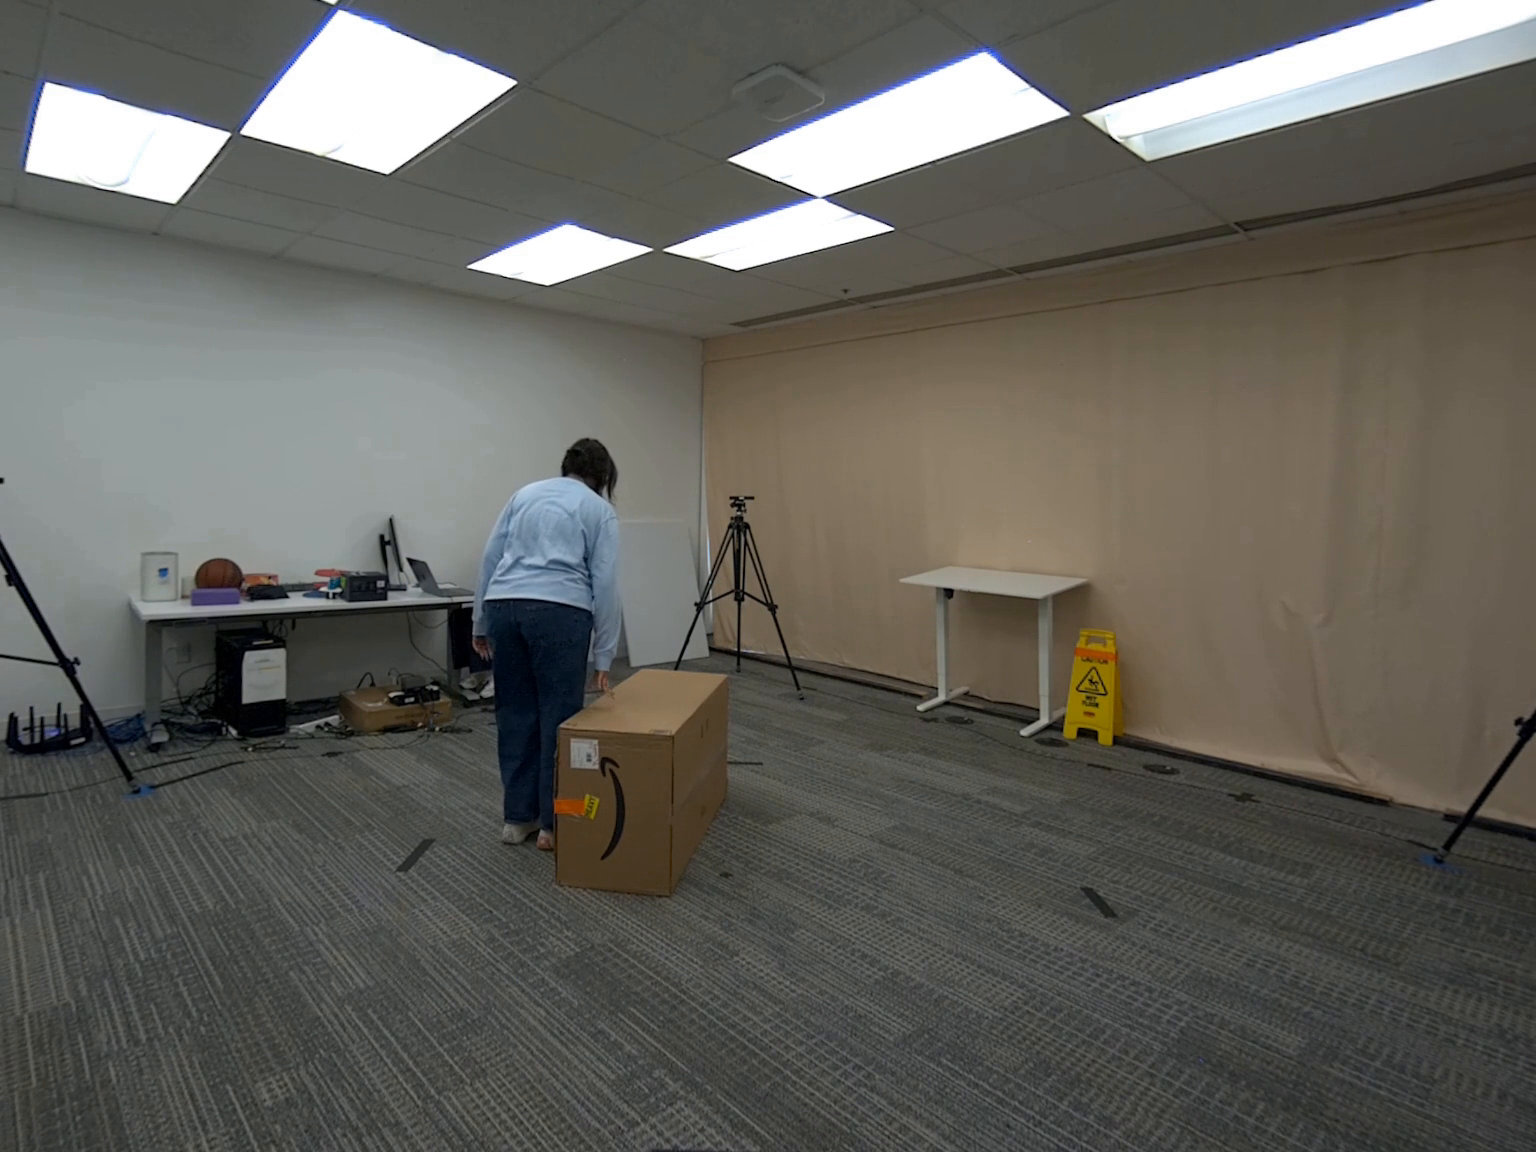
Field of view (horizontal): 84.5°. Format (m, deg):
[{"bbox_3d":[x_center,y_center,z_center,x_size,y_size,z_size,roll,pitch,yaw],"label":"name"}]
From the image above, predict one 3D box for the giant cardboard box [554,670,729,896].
[{"bbox_3d":[-0.475,0.777,3.444,0.429,0.576,1.021,1,5,8],"label":"giant cardboard box"}]
